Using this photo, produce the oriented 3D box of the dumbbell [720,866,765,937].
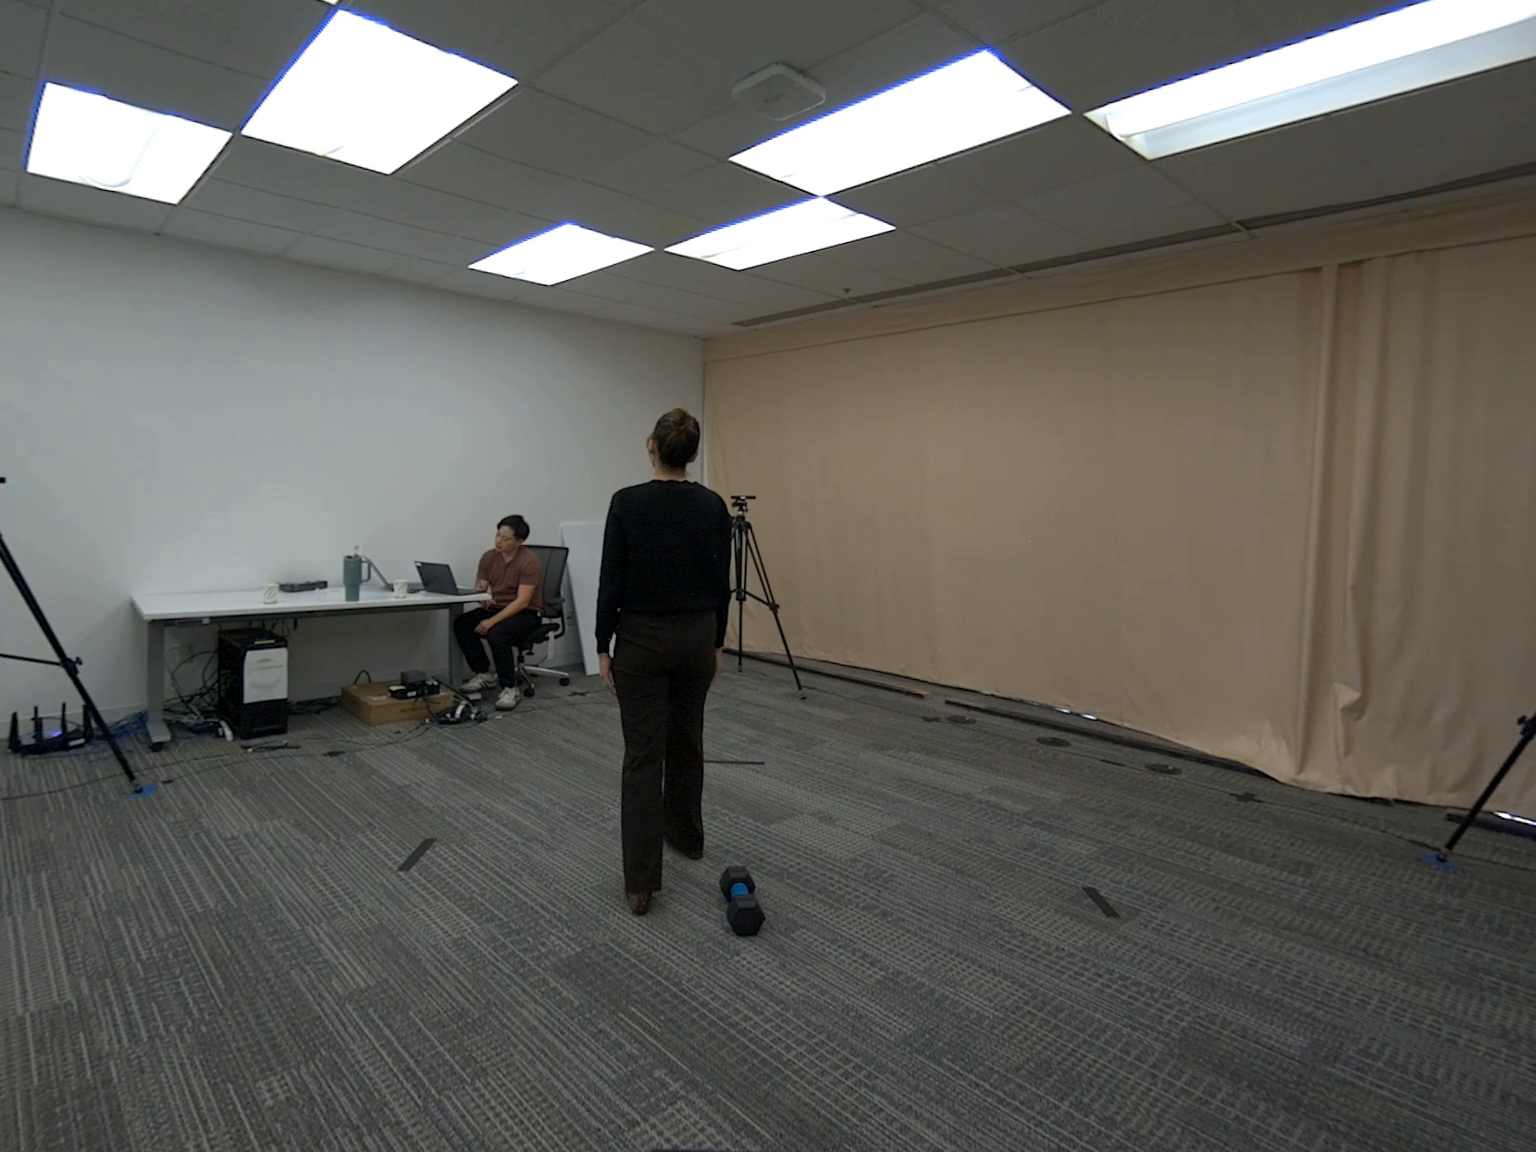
[{"bbox_3d":[-0.096,1.079,2.800,0.108,0.123,0.296,30,0,-10],"label":"dumbbell"}]
